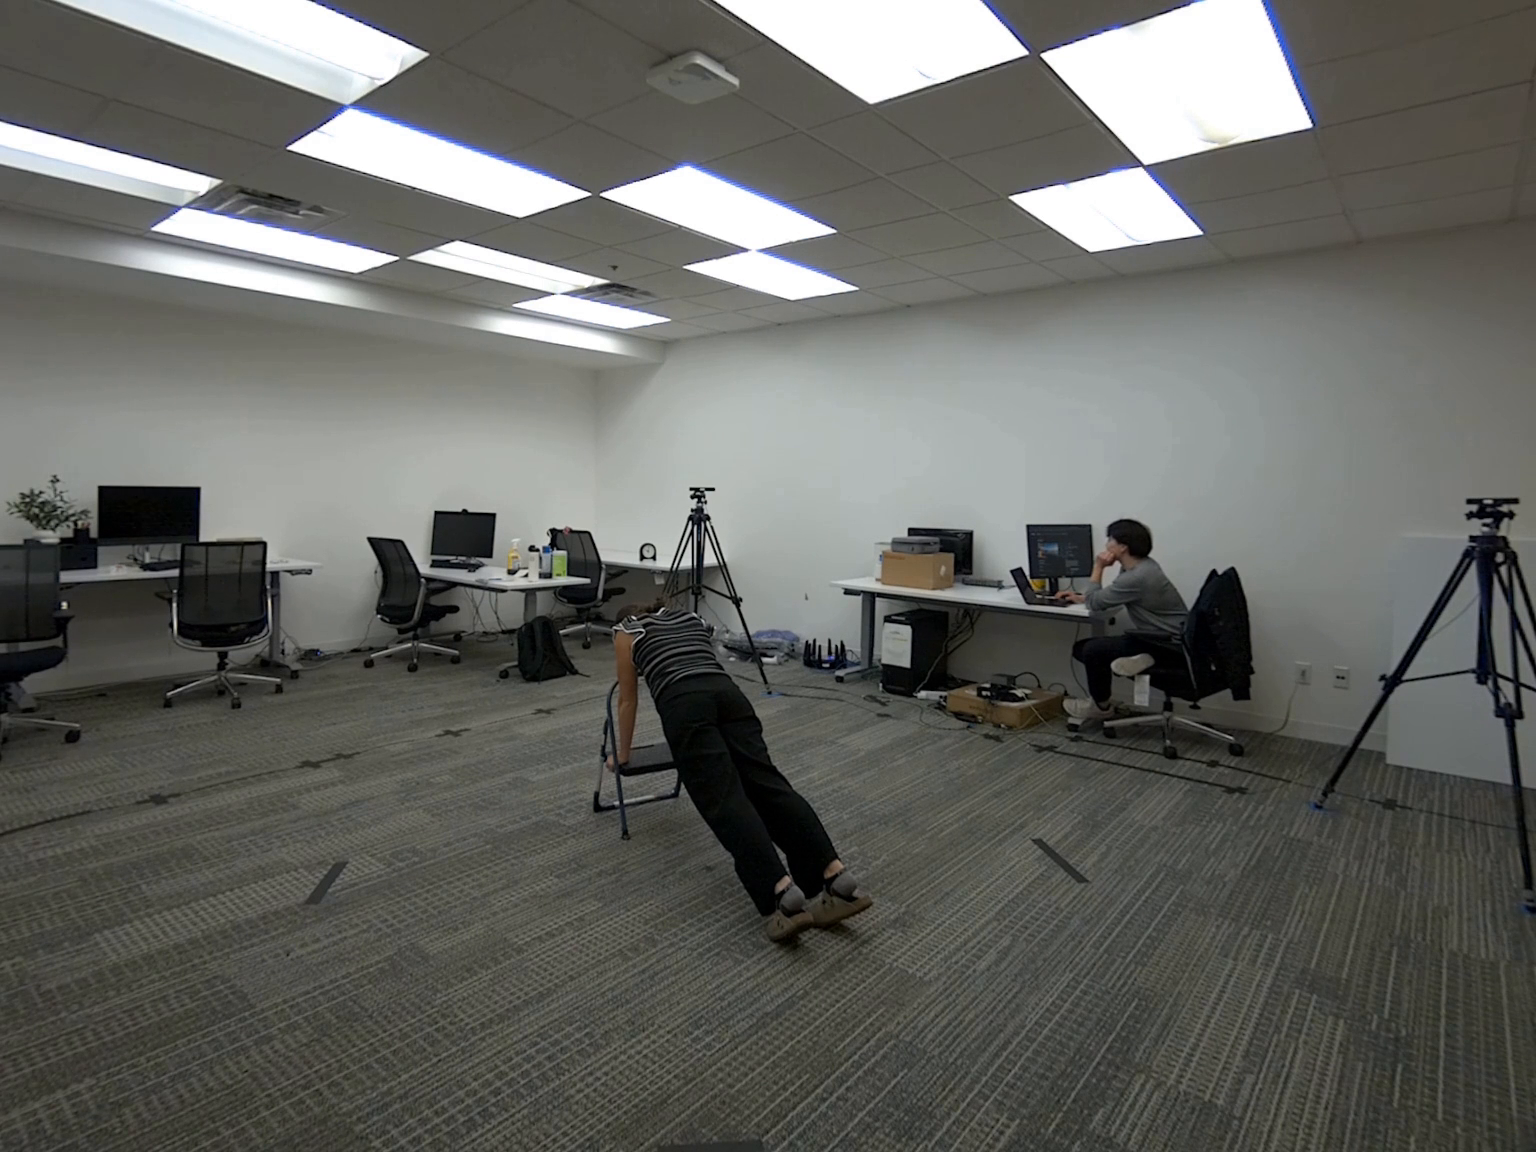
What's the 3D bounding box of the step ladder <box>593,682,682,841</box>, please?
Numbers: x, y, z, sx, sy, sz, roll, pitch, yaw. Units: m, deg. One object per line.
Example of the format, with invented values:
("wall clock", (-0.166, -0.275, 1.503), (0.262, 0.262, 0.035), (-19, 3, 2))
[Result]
("step ladder", (-0.496, 0.714, 3.593), (0.418, 0.605, 0.360), (-1, 3, -33))
